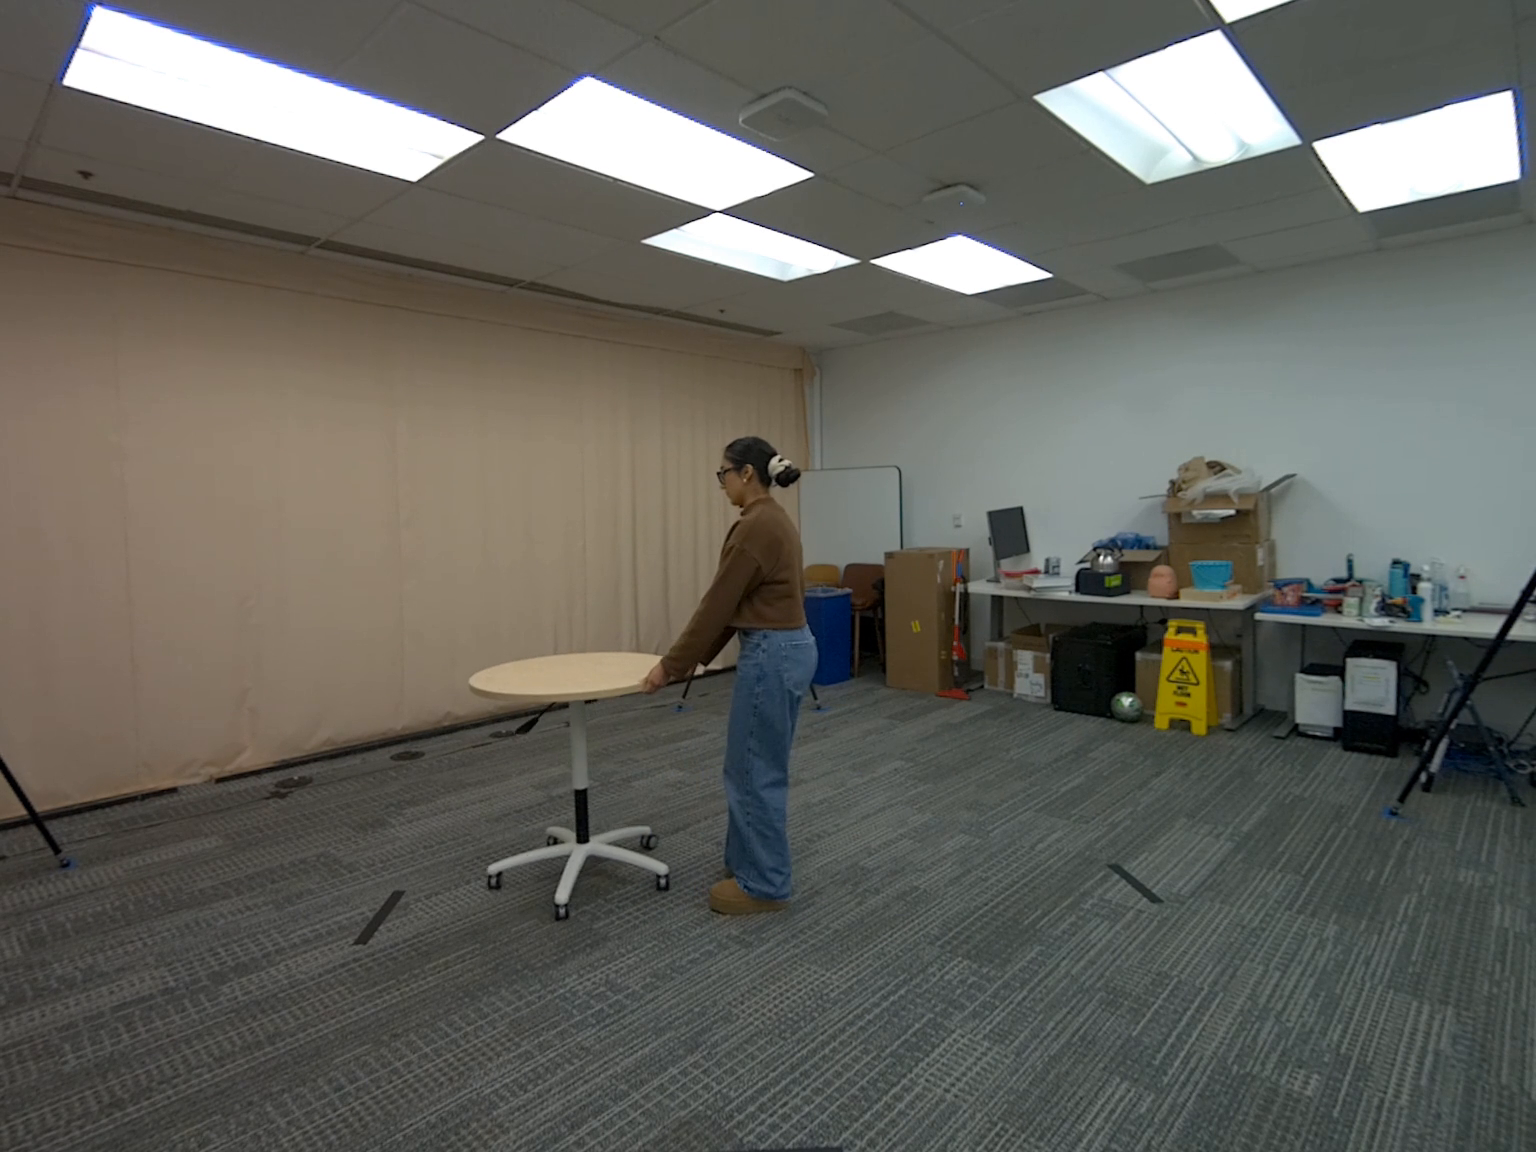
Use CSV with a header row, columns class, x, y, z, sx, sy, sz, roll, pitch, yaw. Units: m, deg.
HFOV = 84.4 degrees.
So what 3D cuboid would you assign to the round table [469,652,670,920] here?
class,x,y,z,sx,sy,sz,roll,pitch,yaw
round table,-0.675,0.745,3.166,0.784,0.784,0.788,-2,4,-2
